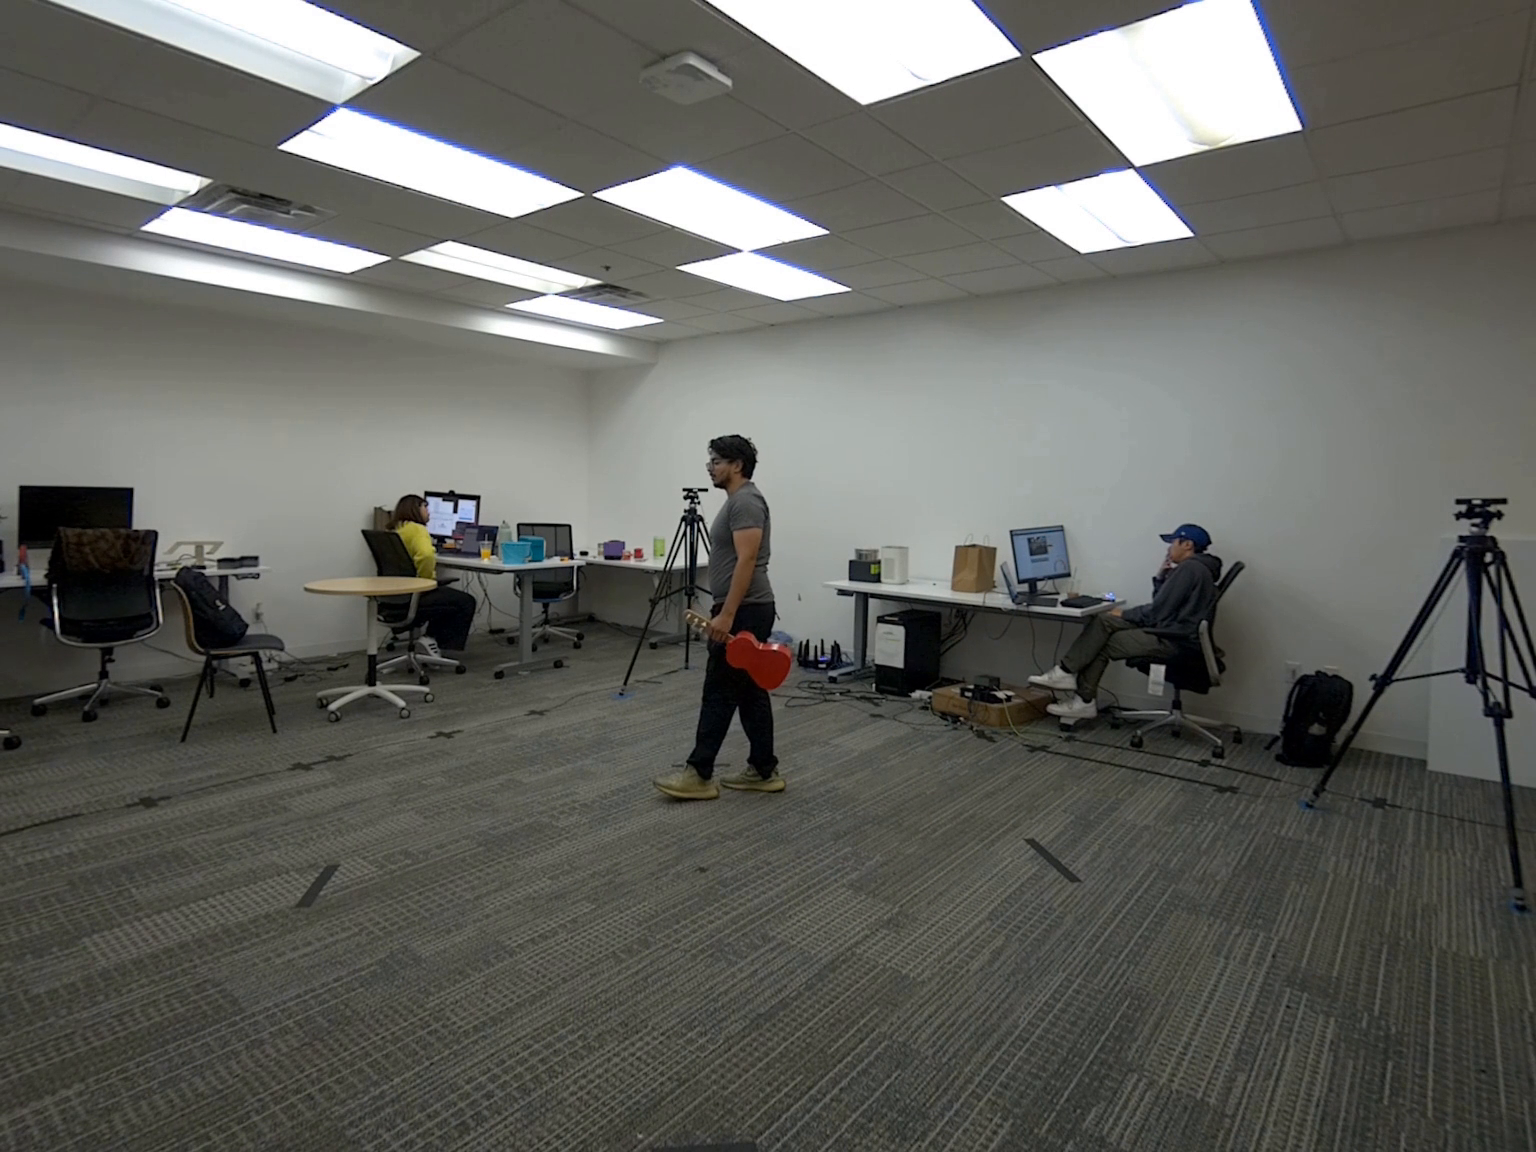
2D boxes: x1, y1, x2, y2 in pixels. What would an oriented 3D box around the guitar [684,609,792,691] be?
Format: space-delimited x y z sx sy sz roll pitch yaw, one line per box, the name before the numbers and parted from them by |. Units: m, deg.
guitar | -0.168 0.309 3.569 0.501 0.191 0.071 21 18 4
